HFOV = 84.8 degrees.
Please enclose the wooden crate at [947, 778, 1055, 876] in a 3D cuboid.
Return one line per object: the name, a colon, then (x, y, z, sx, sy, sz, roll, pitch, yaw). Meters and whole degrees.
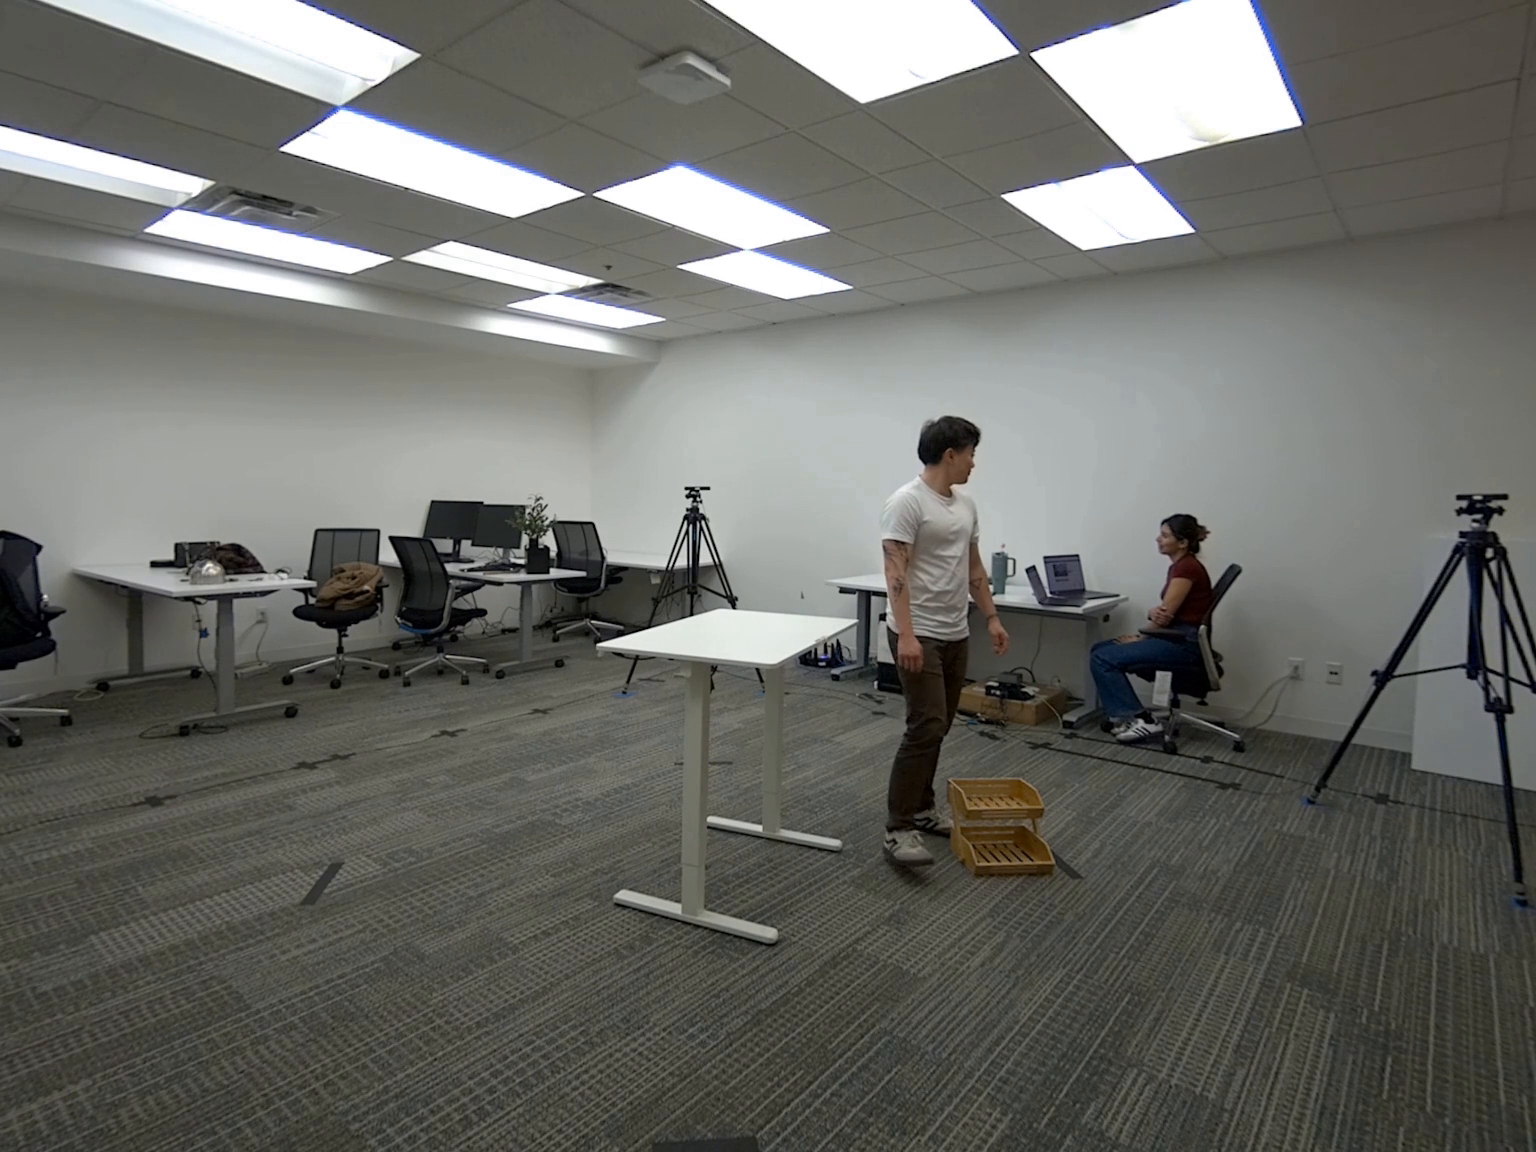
wooden crate: (0.887, 0.944, 3.223, 0.321, 0.272, 0.306, 0, 5, -10)
